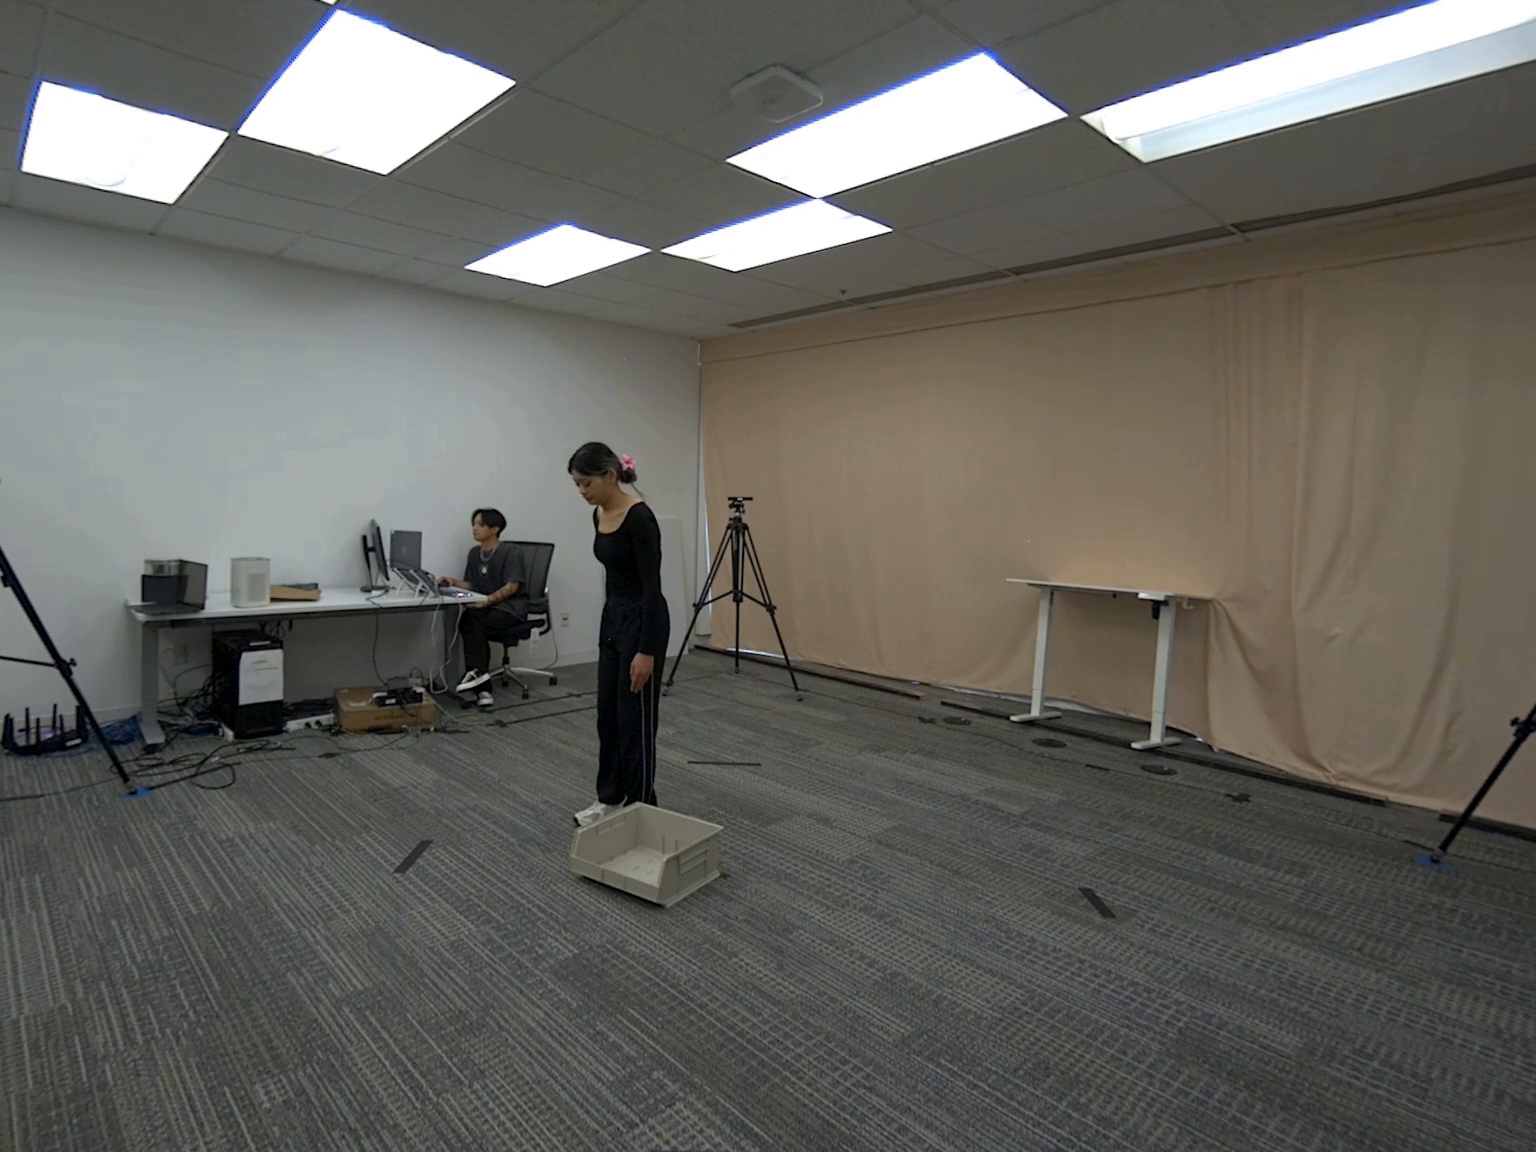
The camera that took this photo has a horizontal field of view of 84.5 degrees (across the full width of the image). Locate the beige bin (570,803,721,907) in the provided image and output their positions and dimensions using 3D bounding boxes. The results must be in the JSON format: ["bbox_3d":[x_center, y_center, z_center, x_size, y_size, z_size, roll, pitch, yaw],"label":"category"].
[{"bbox_3d":[-0.445,1.018,3.073,0.432,0.188,0.369,4,5,33],"label":"beige bin"}]
